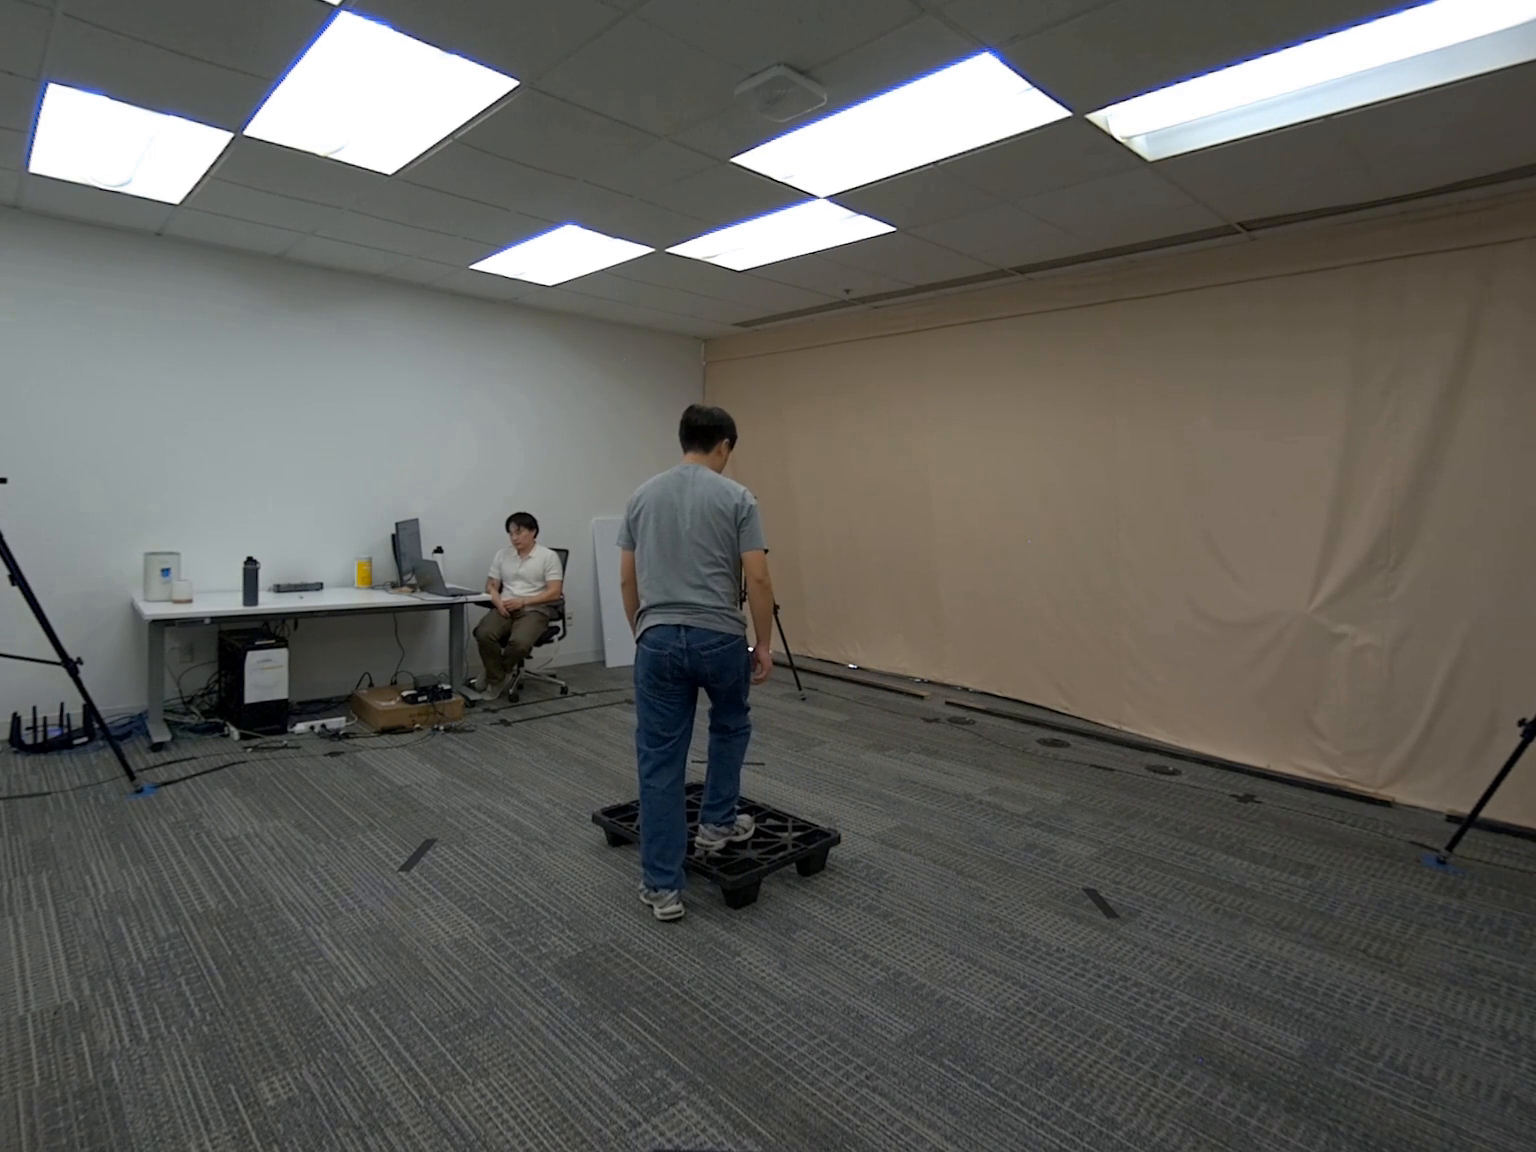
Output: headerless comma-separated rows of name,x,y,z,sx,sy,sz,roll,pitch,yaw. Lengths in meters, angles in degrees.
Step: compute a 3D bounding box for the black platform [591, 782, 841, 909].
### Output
black platform,-0.216,1.023,3.268,0.826,0.143,0.591,7,7,44
